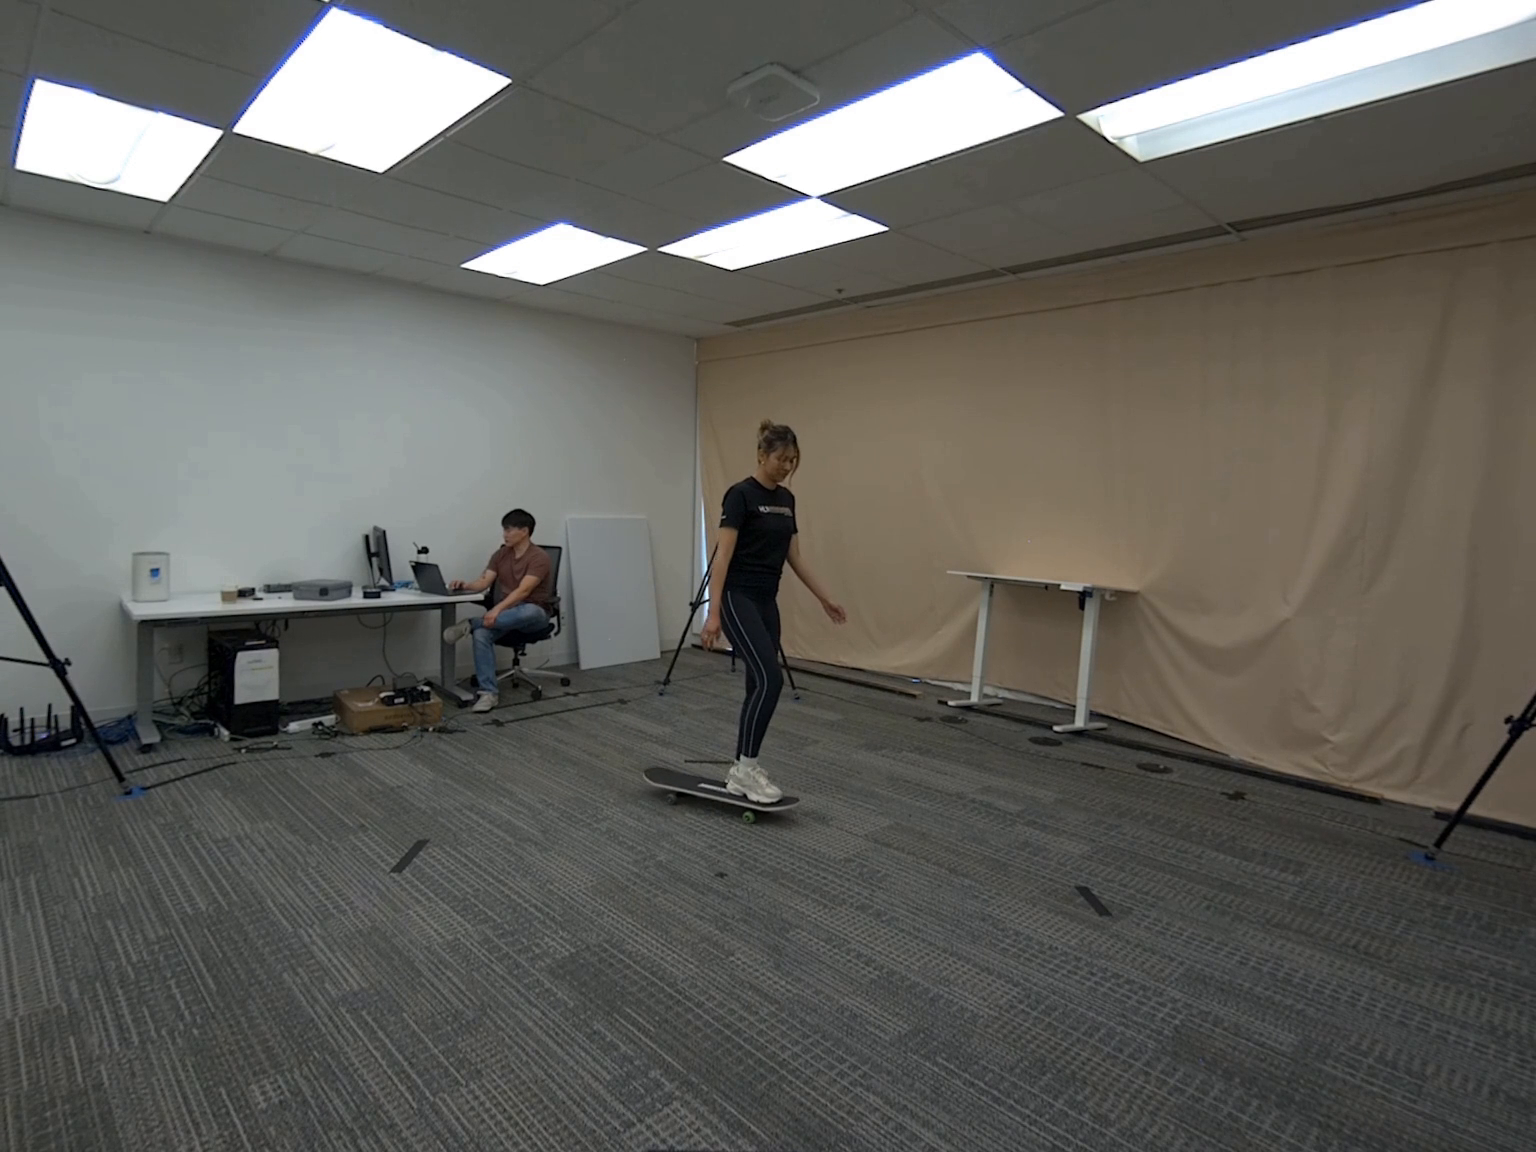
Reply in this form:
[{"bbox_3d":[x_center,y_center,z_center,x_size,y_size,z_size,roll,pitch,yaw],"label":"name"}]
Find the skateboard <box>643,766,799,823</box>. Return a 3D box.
[{"bbox_3d":[-0.230,0.982,3.773,0.802,0.110,0.190,4,5,29],"label":"skateboard"}]
